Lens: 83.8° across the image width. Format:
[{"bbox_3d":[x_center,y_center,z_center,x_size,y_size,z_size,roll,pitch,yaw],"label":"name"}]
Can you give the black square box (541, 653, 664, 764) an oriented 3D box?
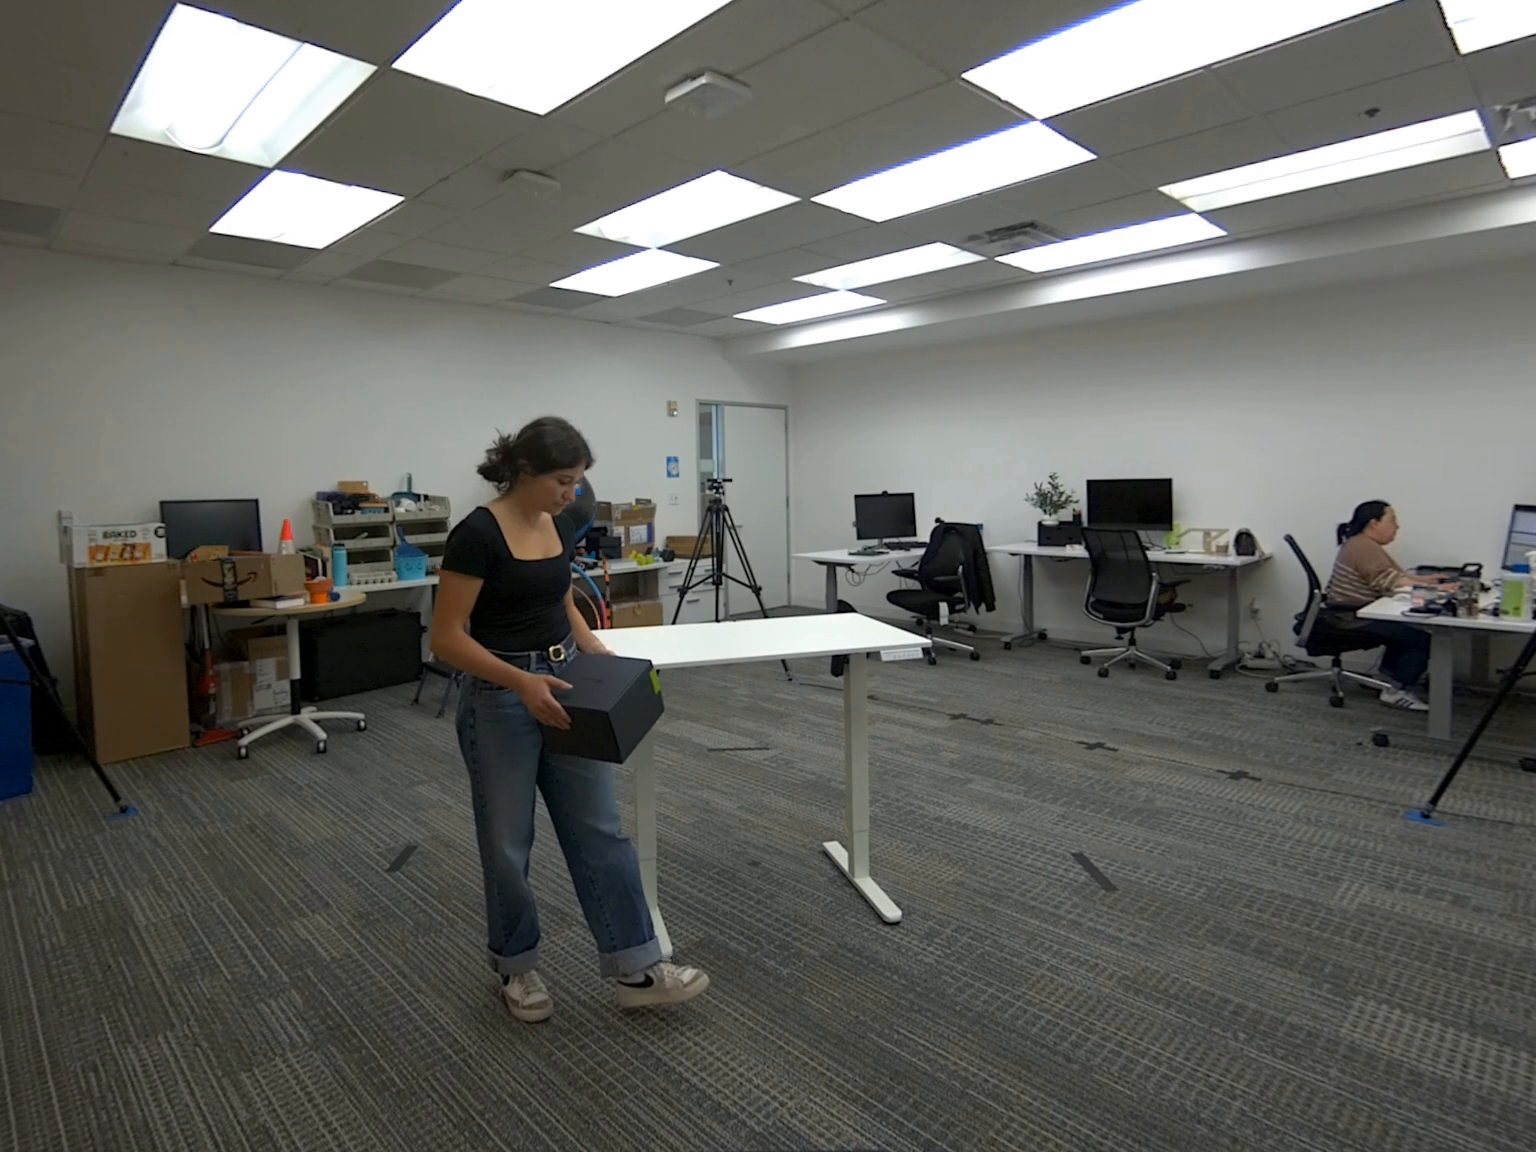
[{"bbox_3d":[-0.417,0.321,2.114,0.233,0.152,0.217,2,28,26],"label":"black square box"}]
